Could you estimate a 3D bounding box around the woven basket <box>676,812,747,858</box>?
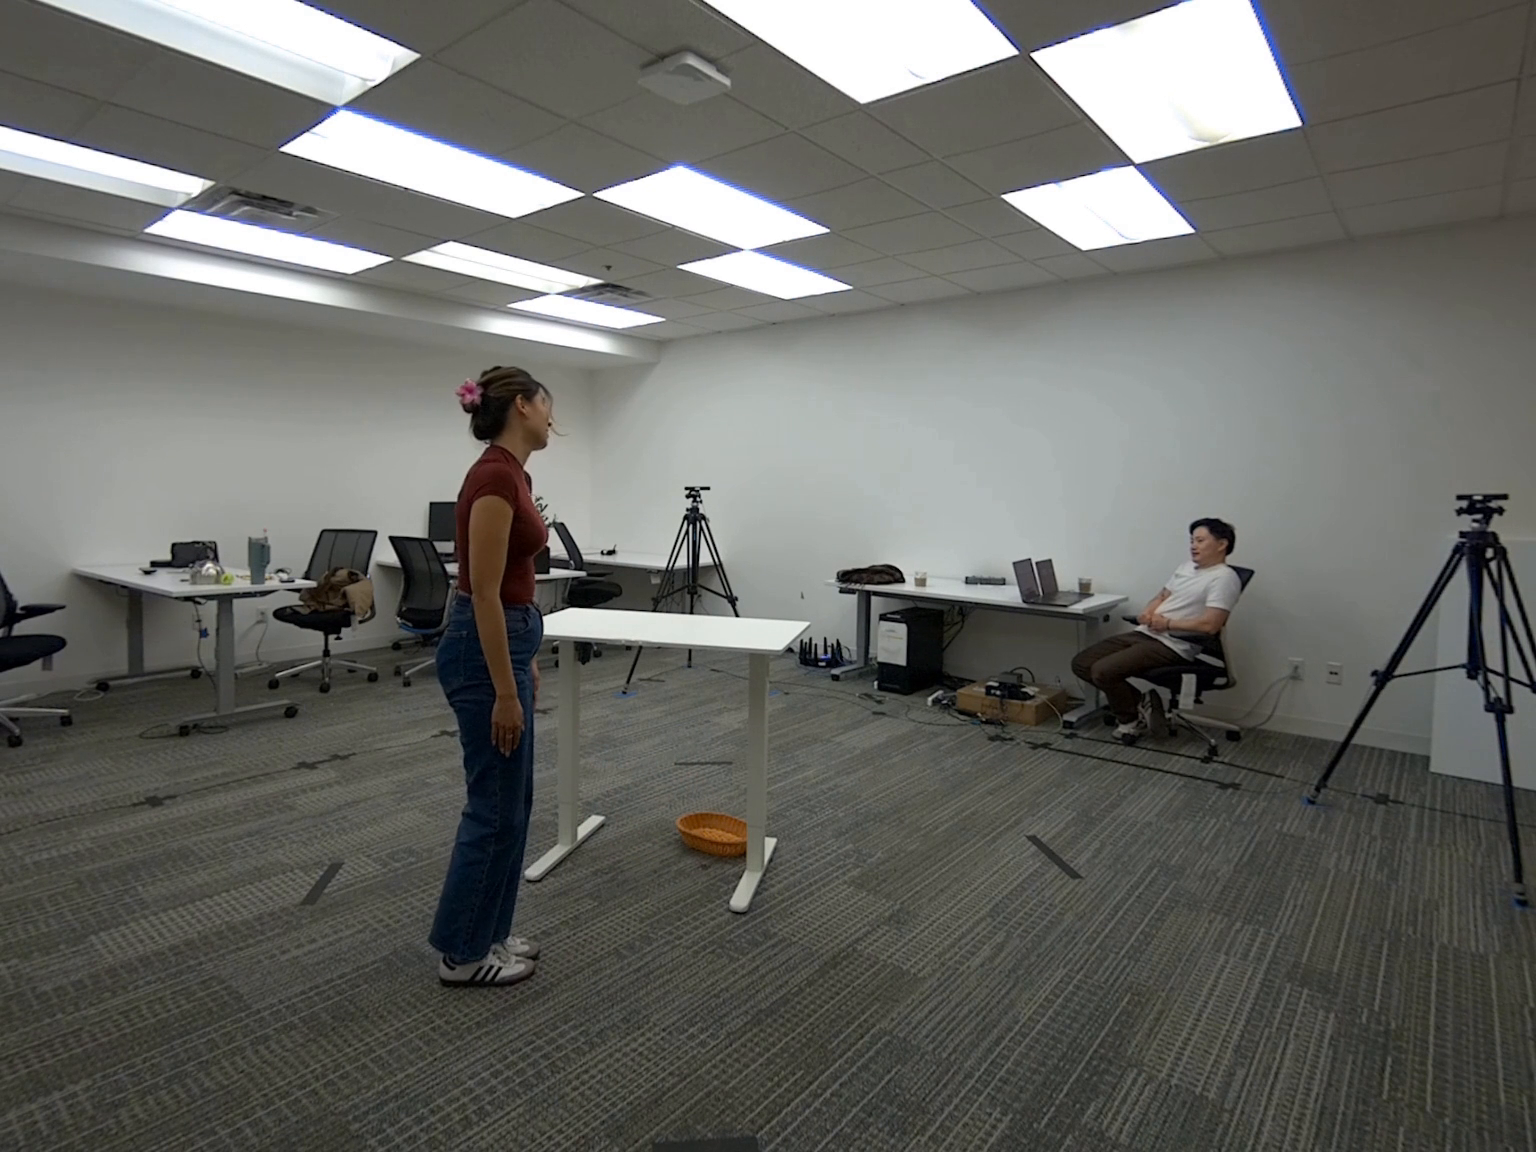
[{"bbox_3d":[-0.218,1.003,3.316,0.362,0.073,0.245,5,6,38],"label":"woven basket"}]
